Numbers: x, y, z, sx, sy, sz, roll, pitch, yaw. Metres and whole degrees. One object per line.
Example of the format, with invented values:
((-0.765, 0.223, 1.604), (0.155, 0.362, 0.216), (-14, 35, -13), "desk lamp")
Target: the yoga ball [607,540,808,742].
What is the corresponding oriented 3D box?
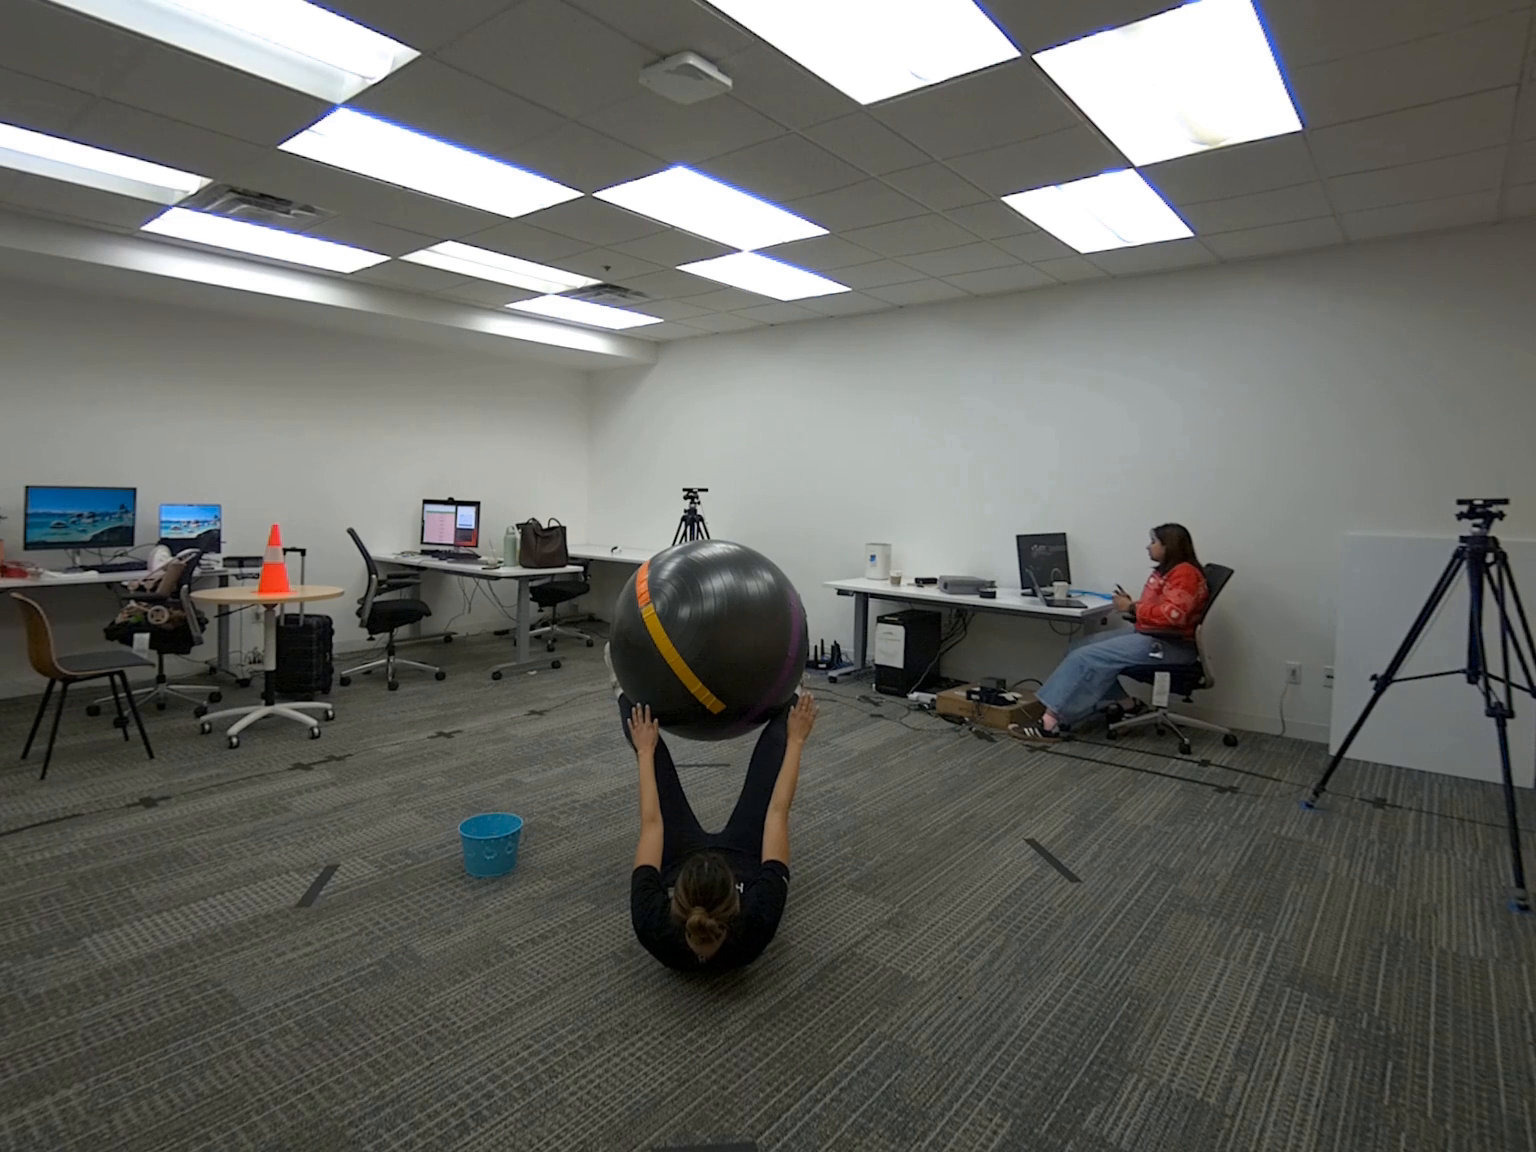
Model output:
((-0.226, 0.243, 3.230), (0.757, 0.756, 0.762), (1, 4, -2), "yoga ball")
